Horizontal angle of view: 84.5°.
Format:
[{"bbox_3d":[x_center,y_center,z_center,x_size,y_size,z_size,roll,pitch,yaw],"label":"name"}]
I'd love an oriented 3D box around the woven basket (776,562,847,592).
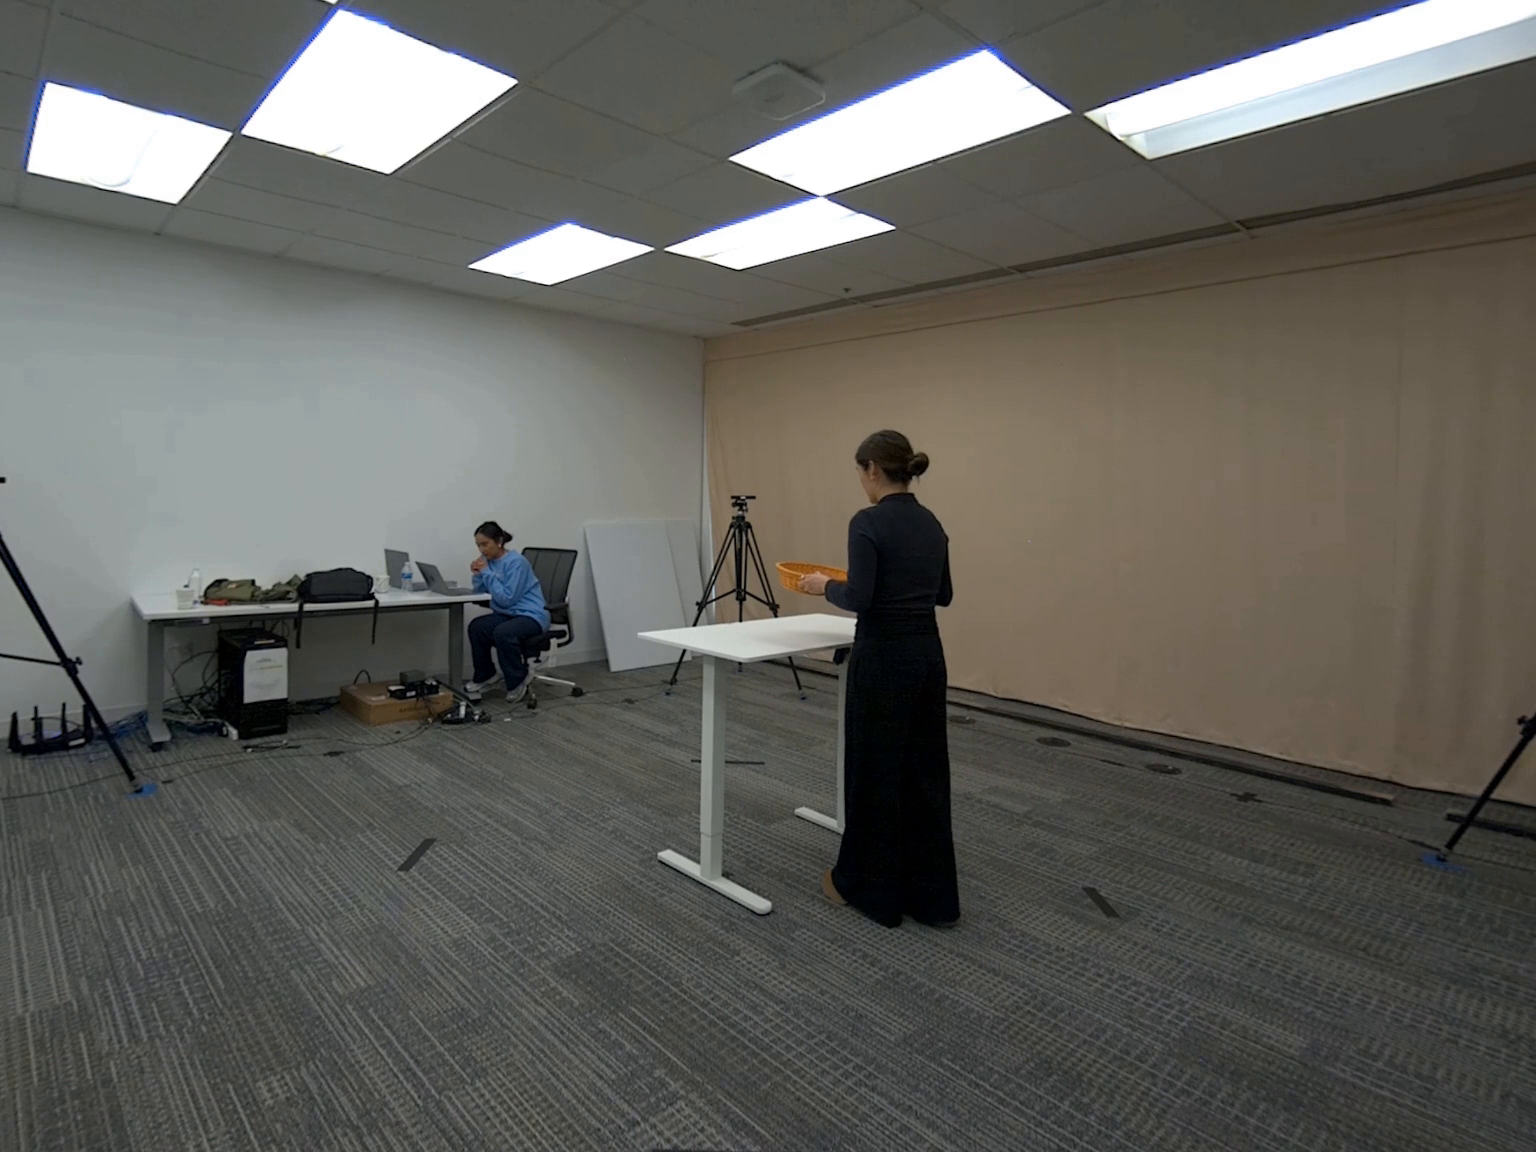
[{"bbox_3d":[0.207,0.024,3.076,0.342,0.073,0.259,2,11,-35],"label":"woven basket"}]
